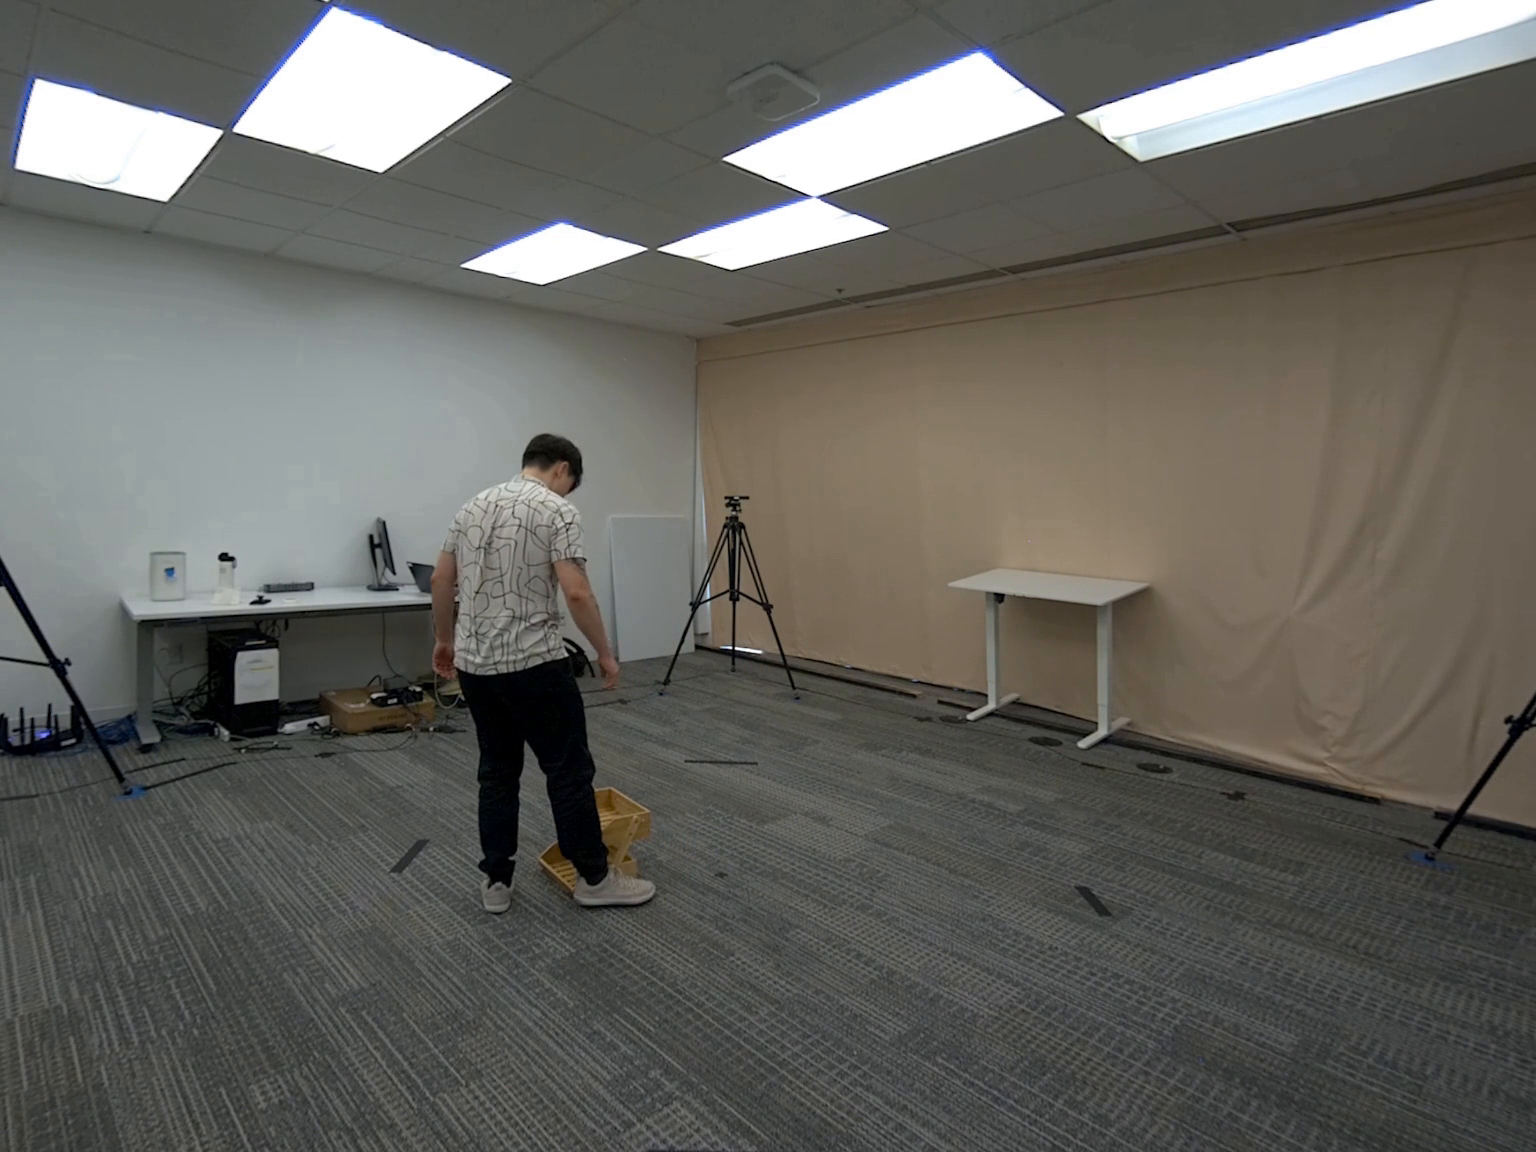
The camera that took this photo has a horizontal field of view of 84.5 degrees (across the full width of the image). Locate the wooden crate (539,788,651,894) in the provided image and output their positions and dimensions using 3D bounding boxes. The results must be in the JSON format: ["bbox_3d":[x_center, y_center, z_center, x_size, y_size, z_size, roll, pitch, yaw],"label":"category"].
[{"bbox_3d":[-0.644,0.966,3.063,0.295,0.272,0.333,-1,5,-37],"label":"wooden crate"}]
